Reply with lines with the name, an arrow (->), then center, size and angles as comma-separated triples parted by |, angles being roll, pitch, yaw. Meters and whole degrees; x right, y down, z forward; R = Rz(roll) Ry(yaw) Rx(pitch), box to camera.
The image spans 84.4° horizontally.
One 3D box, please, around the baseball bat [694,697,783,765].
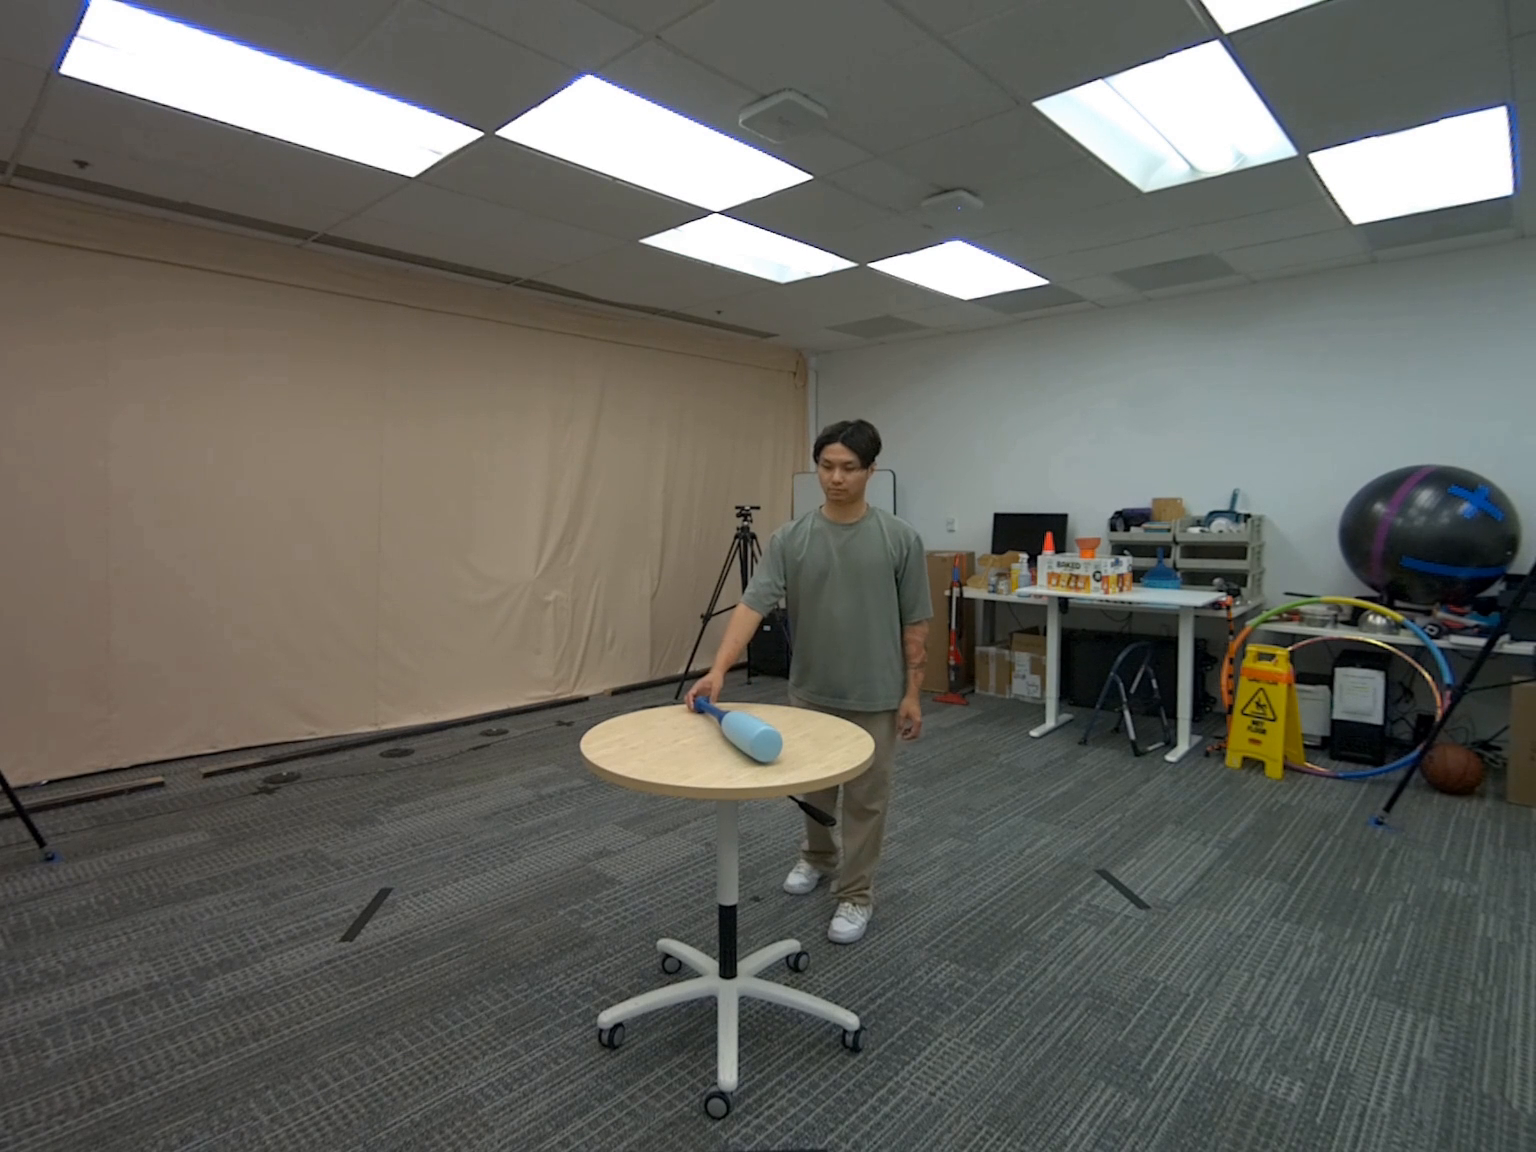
baseball bat -> -0.094, 0.391, 2.219 | 0.087, 0.089, 0.554 | -1, 2, -21
